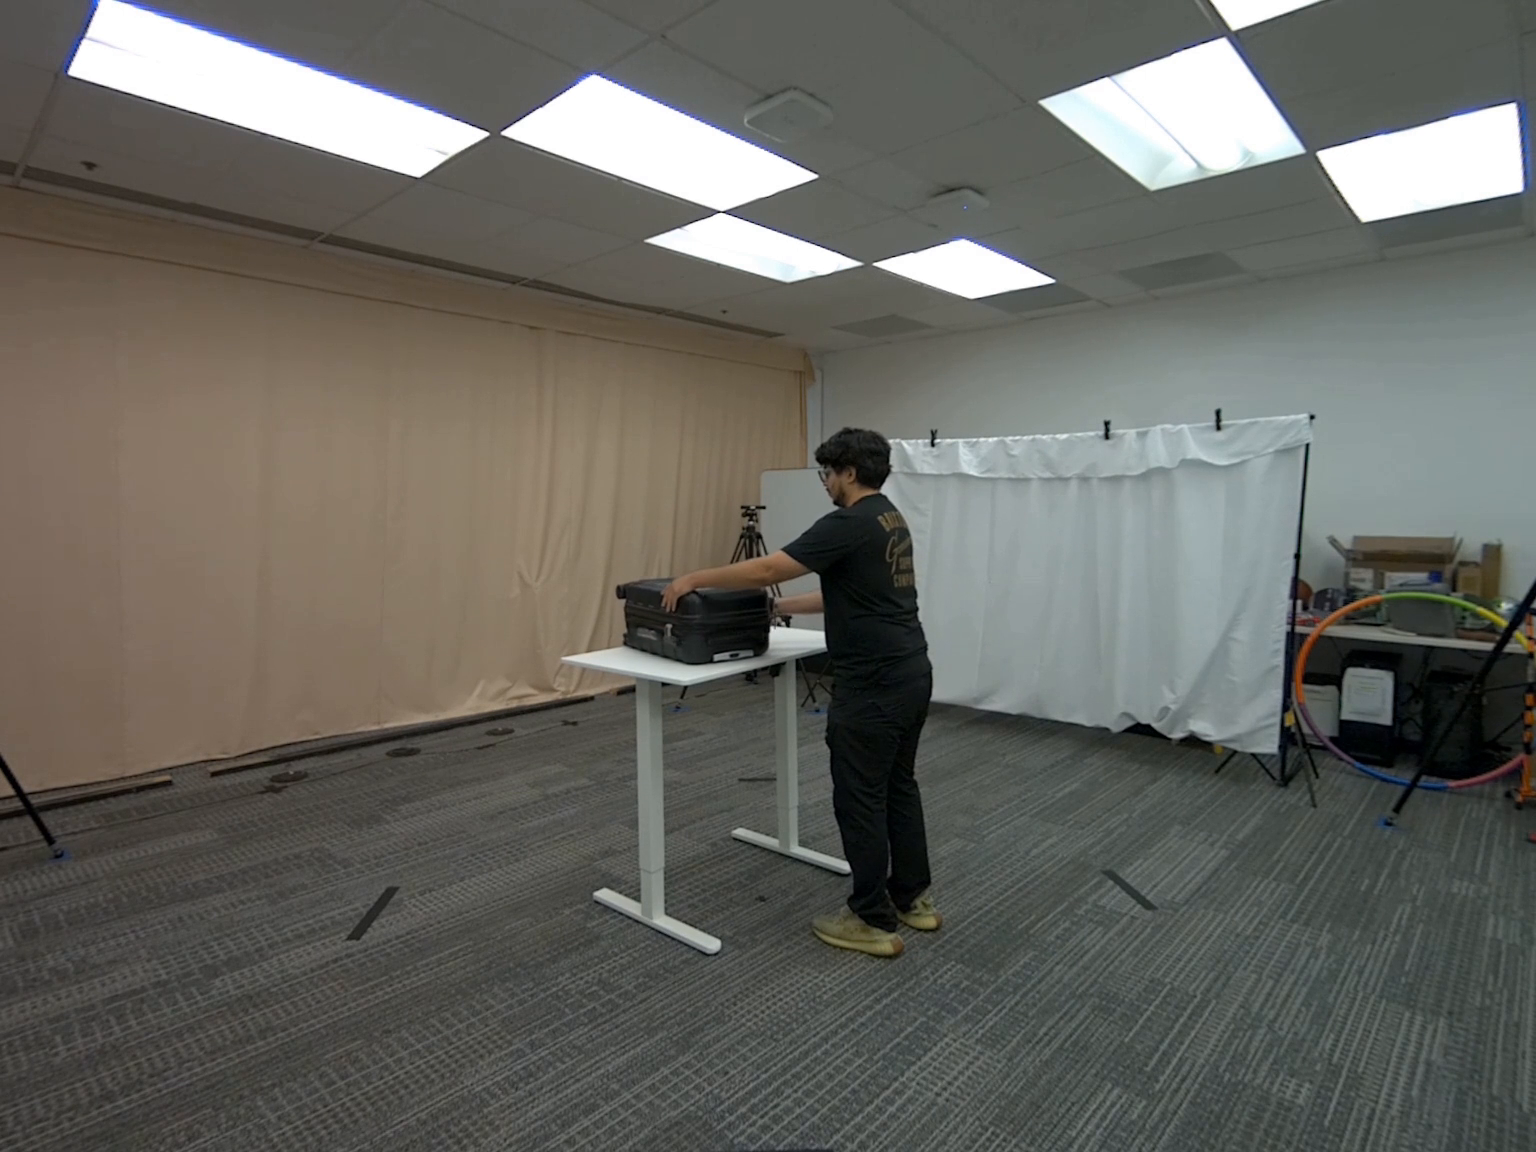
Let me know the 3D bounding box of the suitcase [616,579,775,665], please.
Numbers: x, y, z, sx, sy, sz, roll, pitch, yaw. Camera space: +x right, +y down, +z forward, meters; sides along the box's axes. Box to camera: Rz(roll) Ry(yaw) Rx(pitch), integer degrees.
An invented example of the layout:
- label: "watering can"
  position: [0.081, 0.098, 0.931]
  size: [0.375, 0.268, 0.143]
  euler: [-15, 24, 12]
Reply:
- label: "suitcase"
  position: [-0.258, 0.150, 2.971]
  size: [0.364, 0.248, 0.567]
  euler: [-4, 5, -36]
